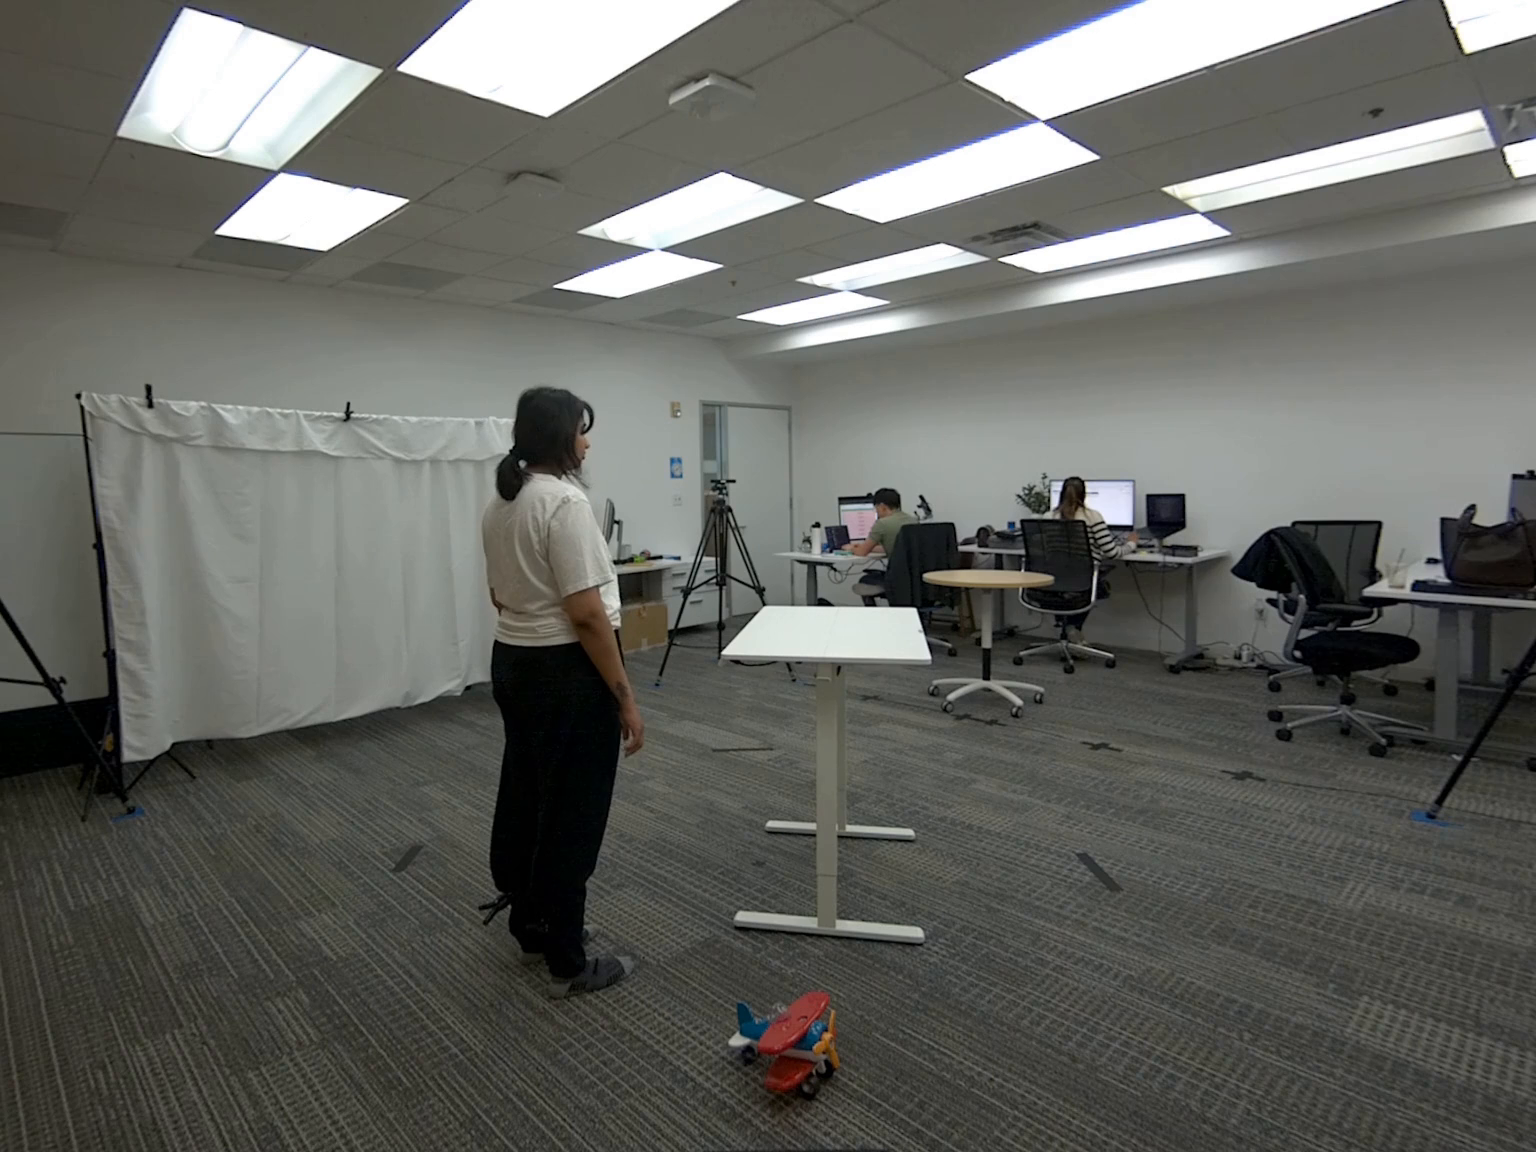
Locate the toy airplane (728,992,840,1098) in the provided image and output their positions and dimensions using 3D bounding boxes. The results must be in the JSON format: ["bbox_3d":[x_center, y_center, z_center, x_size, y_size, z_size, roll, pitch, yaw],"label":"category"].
[{"bbox_3d":[0.045,1.104,1.990,0.261,0.155,0.251,0,7,5],"label":"toy airplane"}]
